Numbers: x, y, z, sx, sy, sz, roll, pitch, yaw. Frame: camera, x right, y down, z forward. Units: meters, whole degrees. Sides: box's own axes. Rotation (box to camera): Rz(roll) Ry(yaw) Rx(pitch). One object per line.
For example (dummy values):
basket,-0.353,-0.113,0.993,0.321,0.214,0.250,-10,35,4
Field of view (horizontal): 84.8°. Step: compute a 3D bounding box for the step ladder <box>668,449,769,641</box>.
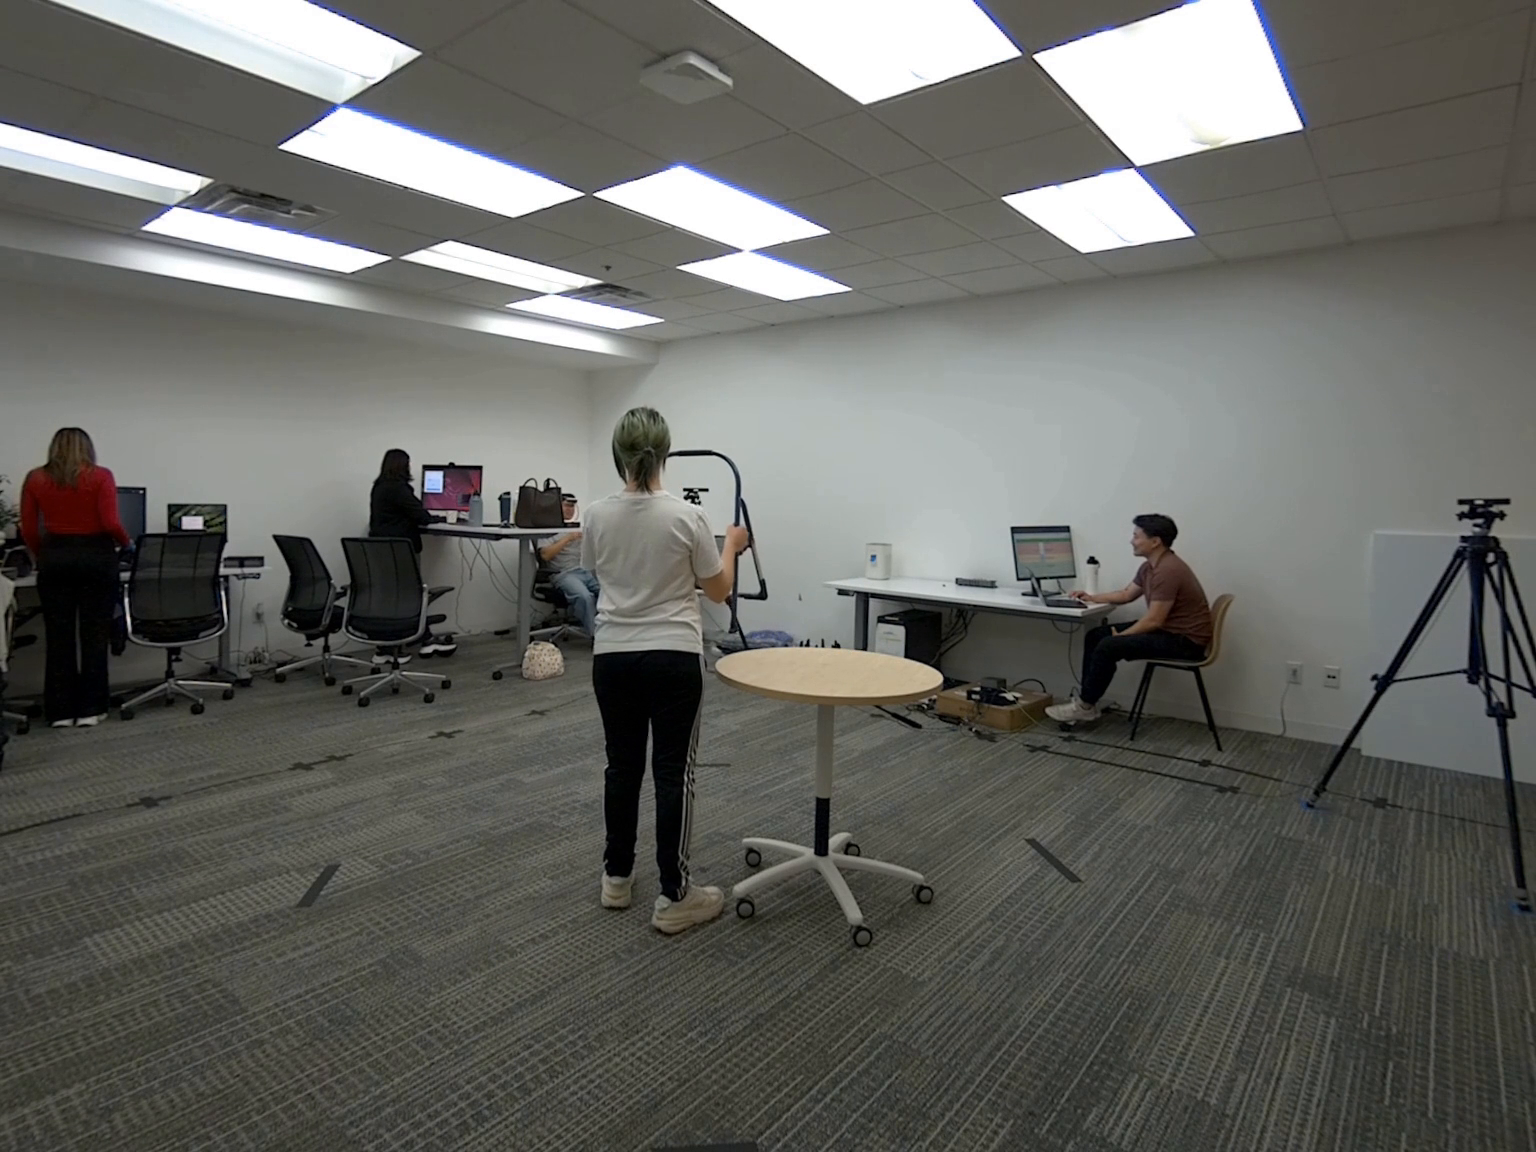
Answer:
step ladder,-0.290,-0.153,3.135,0.441,0.597,0.346,2,16,23
